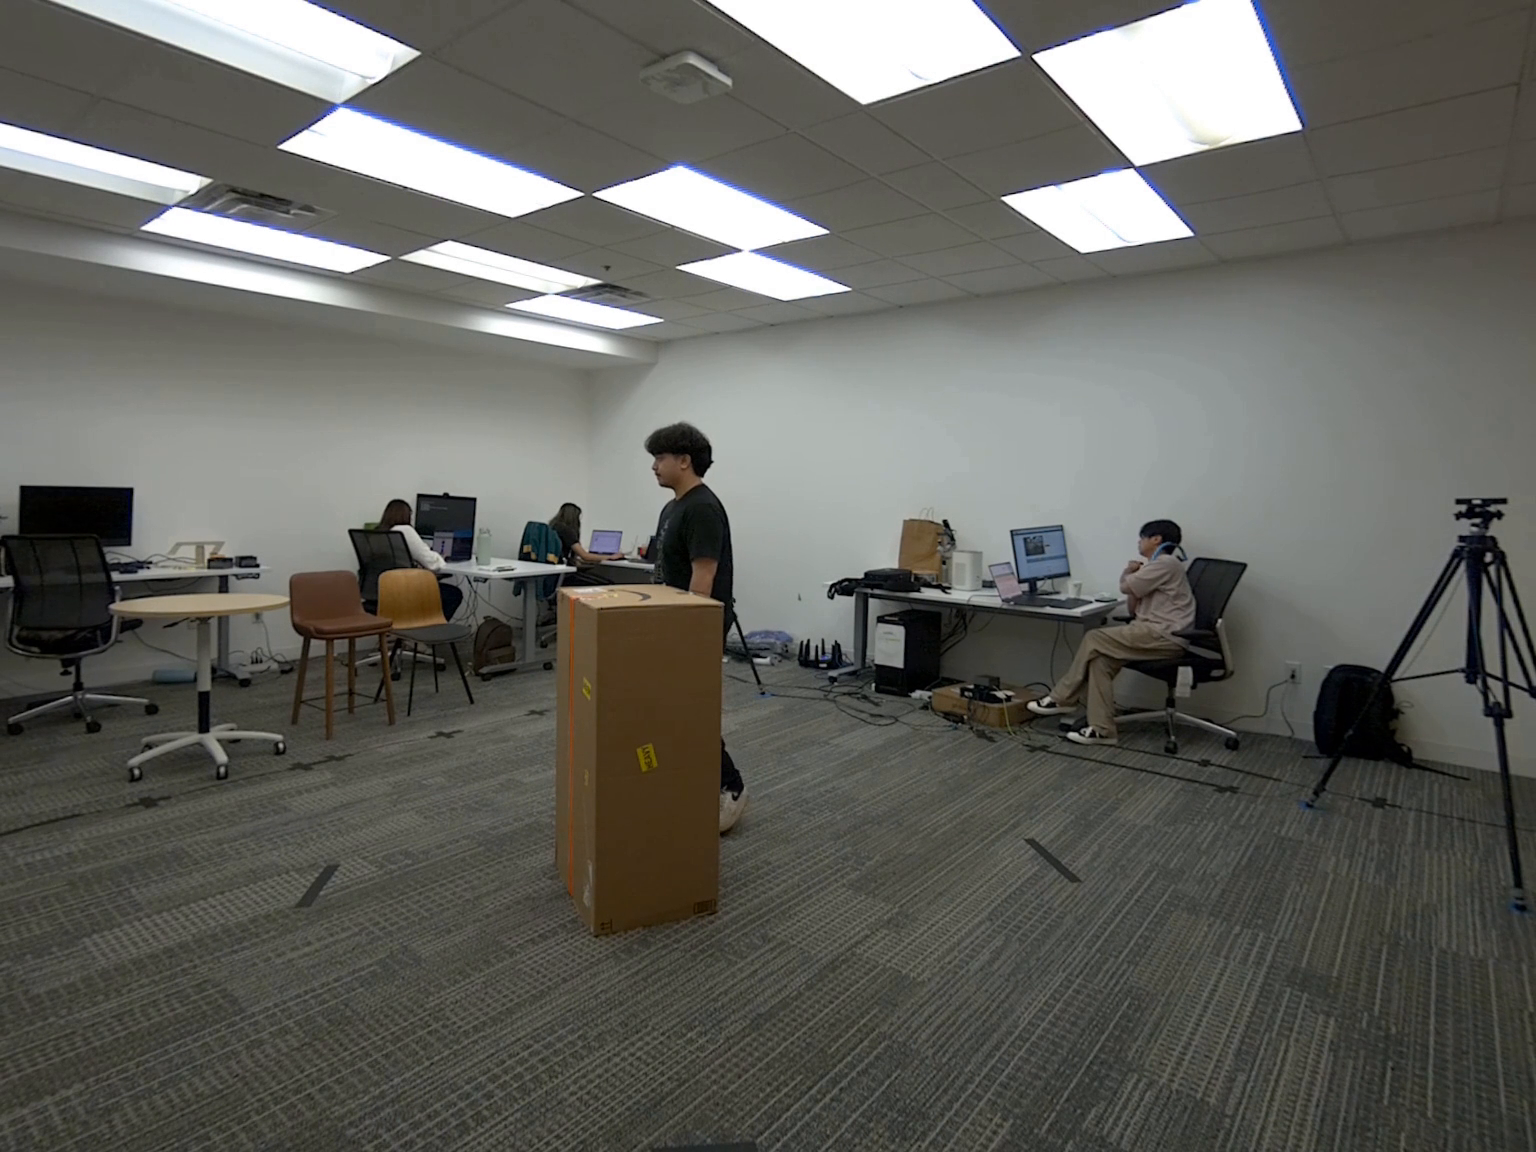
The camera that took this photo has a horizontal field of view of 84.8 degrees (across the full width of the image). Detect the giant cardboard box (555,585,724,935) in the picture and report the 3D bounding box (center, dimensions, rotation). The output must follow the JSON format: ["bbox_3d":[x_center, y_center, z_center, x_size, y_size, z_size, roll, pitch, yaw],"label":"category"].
[{"bbox_3d":[-0.480,0.569,2.940,0.437,1.024,0.599,-1,4,-25],"label":"giant cardboard box"}]
